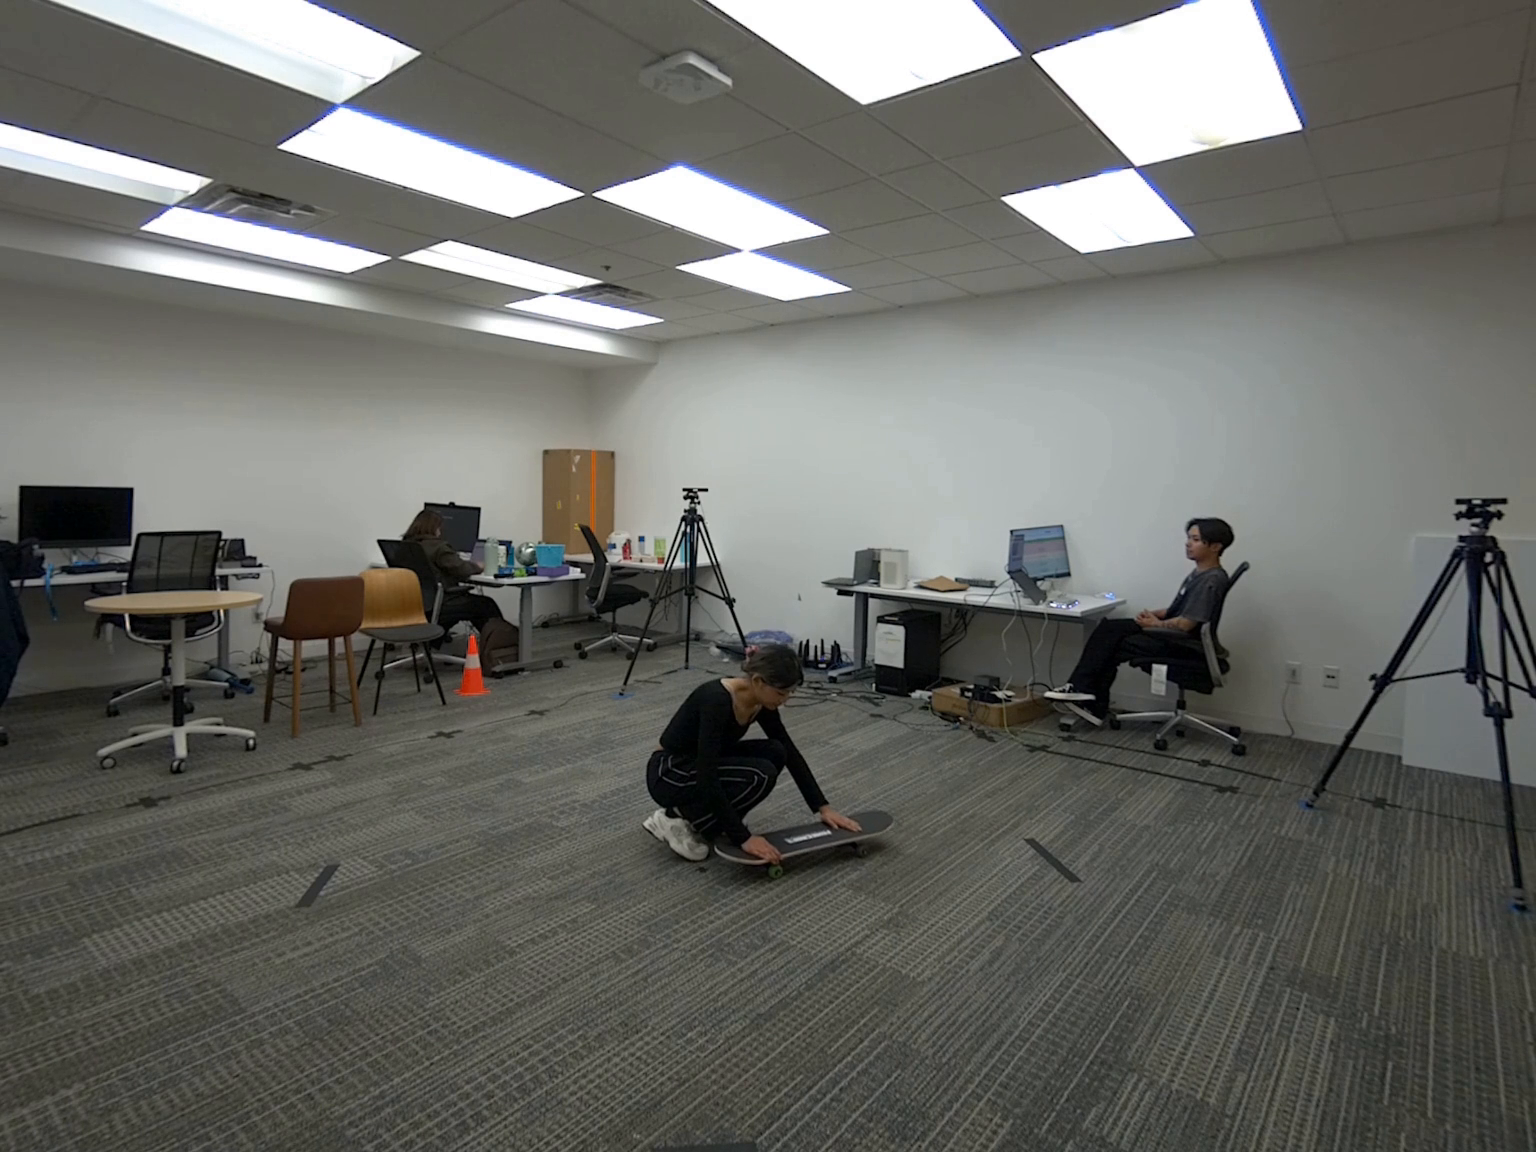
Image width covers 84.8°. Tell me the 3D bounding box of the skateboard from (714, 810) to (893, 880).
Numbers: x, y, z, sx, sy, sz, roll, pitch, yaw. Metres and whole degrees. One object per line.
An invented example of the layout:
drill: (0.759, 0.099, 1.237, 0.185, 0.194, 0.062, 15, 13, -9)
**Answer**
skateboard: (0.146, 1.014, 3.207, 0.764, 0.110, 0.200, -3, 8, -32)
